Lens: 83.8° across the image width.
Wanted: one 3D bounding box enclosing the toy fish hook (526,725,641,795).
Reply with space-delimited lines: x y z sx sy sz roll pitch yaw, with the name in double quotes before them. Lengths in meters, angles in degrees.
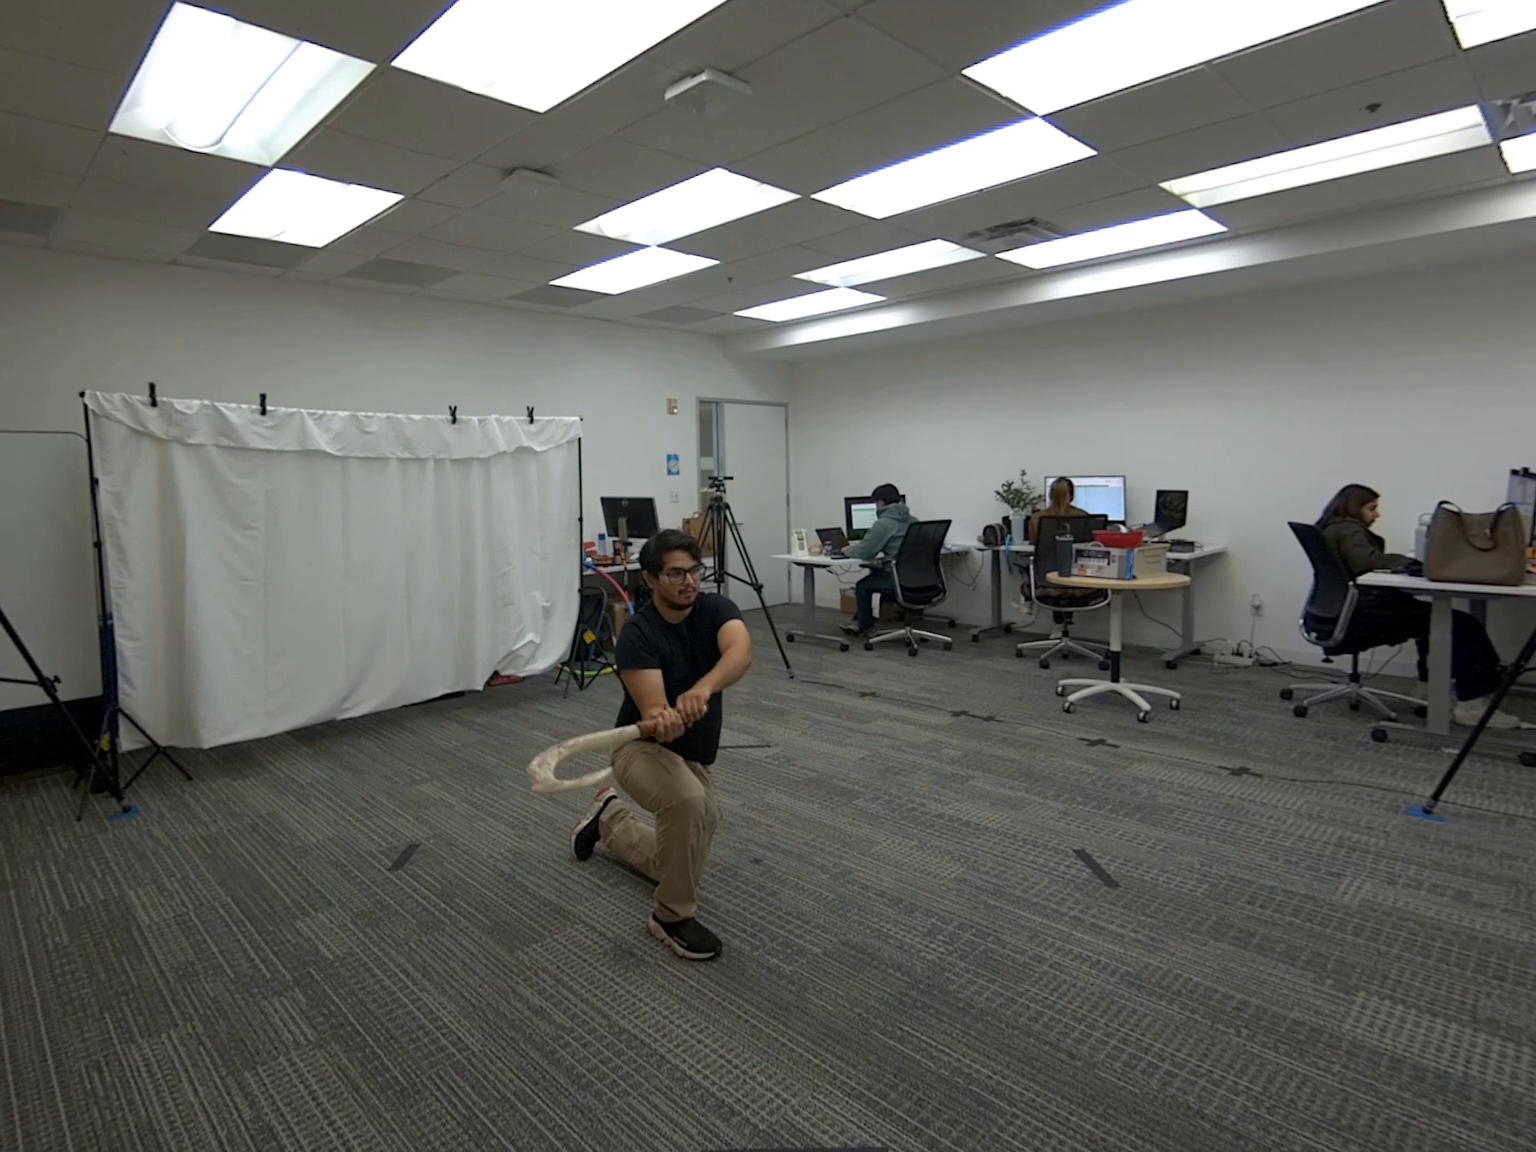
"toy fish hook" -0.356 0.445 2.202 0.501 0.047 0.233 -20 28 -20
